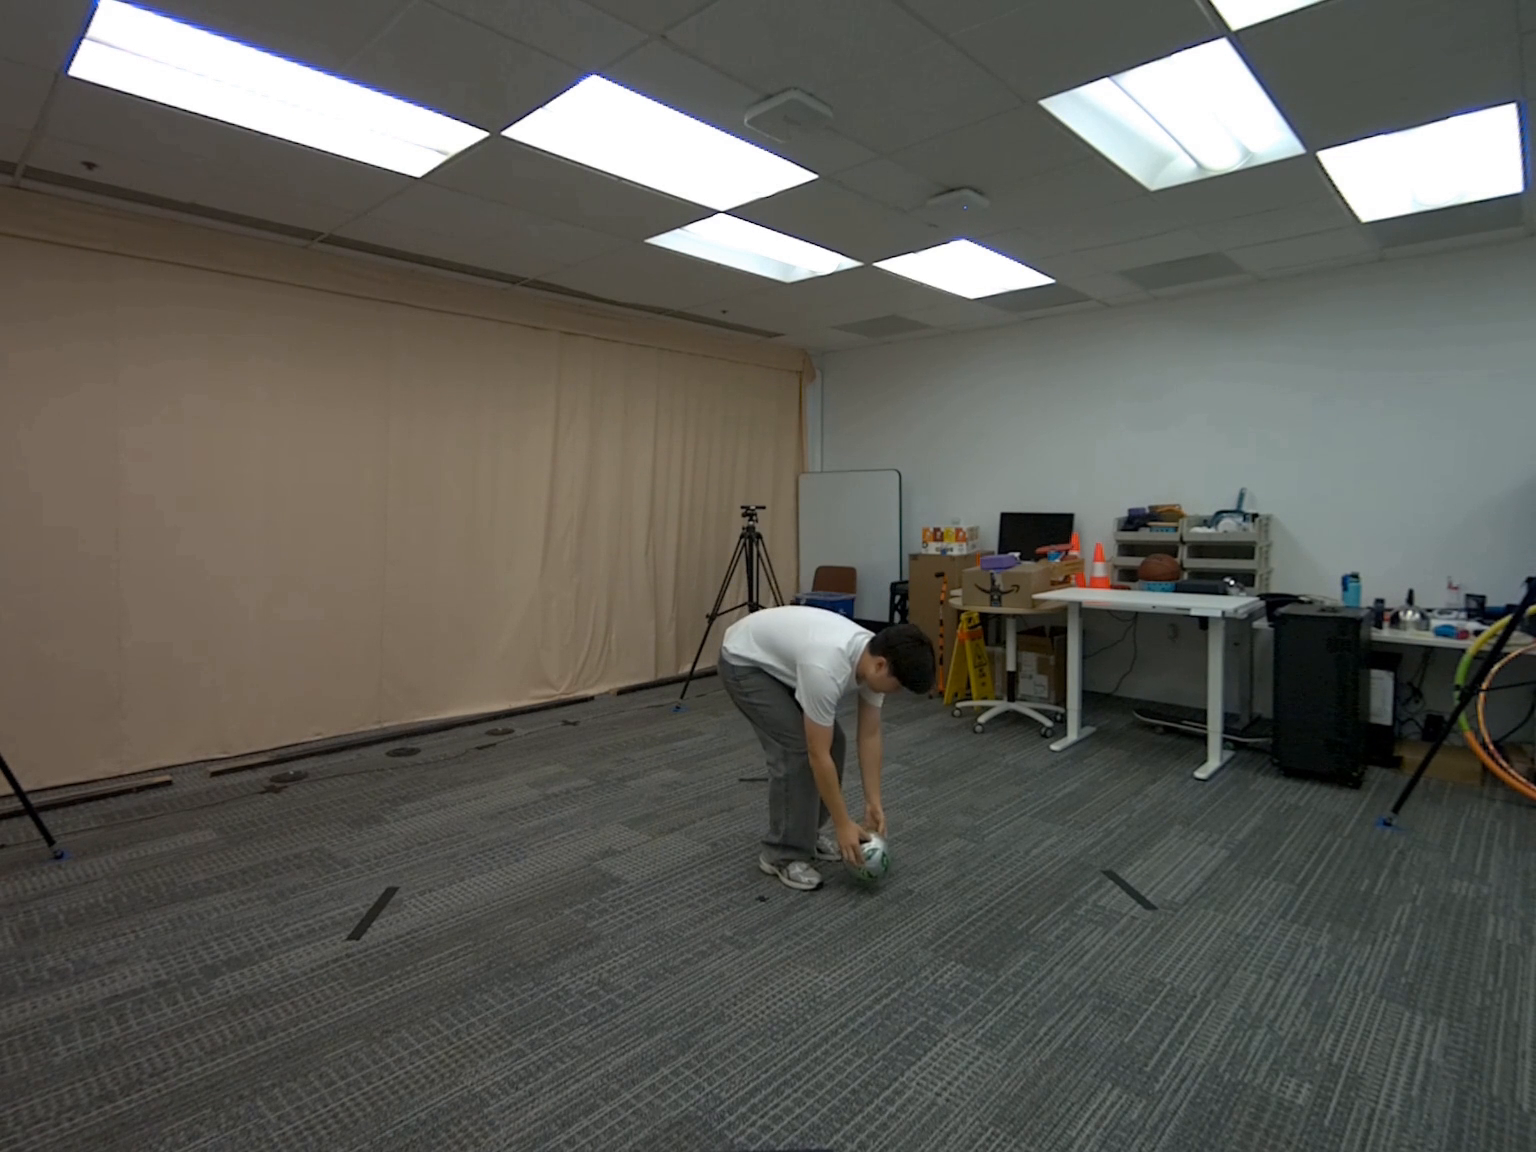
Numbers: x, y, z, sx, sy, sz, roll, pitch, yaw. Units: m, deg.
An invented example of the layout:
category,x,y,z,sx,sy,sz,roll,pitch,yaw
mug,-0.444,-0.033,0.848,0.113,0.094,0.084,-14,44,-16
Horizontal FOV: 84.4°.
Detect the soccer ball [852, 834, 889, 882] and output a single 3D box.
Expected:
category,x,y,z,sx,sy,sz,roll,pitch,yaw
soccer ball,0.355,0.981,3.045,0.187,0.187,0.188,0,4,-2
